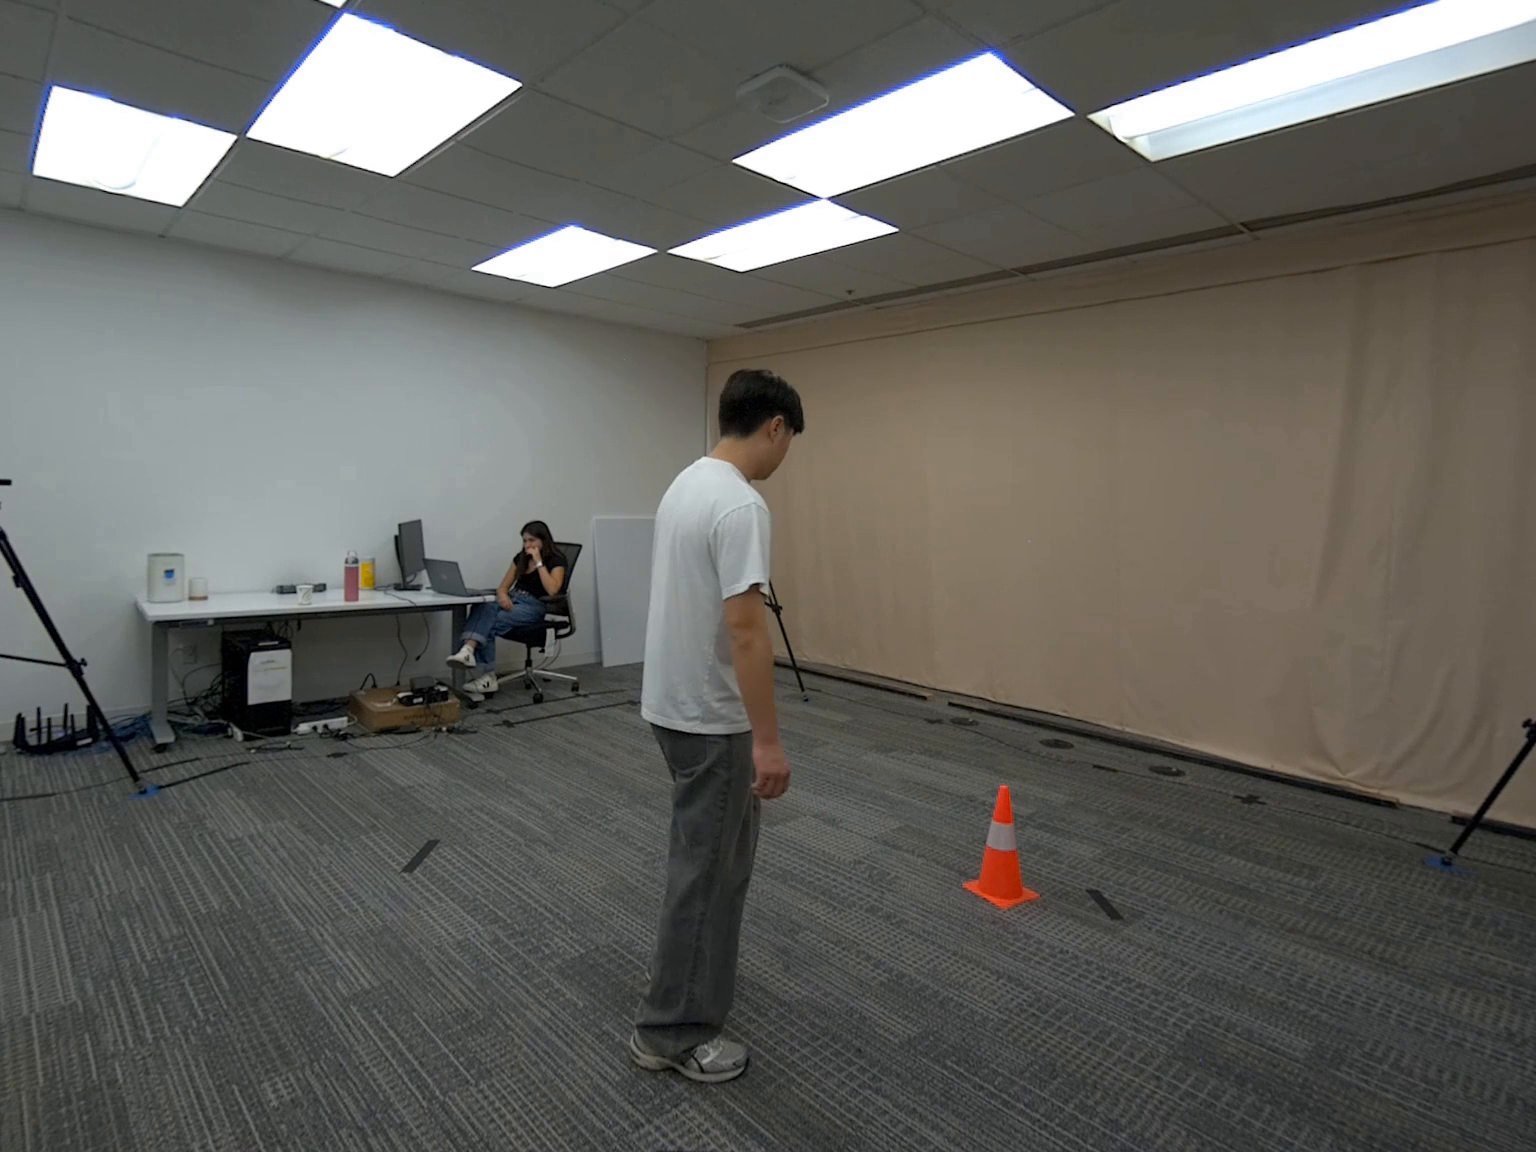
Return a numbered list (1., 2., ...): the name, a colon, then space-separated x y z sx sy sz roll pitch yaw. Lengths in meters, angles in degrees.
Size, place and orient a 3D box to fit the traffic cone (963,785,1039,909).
1. traffic cone: 0.849 0.956 3.038 0.200 0.383 0.208 0 3 -38
